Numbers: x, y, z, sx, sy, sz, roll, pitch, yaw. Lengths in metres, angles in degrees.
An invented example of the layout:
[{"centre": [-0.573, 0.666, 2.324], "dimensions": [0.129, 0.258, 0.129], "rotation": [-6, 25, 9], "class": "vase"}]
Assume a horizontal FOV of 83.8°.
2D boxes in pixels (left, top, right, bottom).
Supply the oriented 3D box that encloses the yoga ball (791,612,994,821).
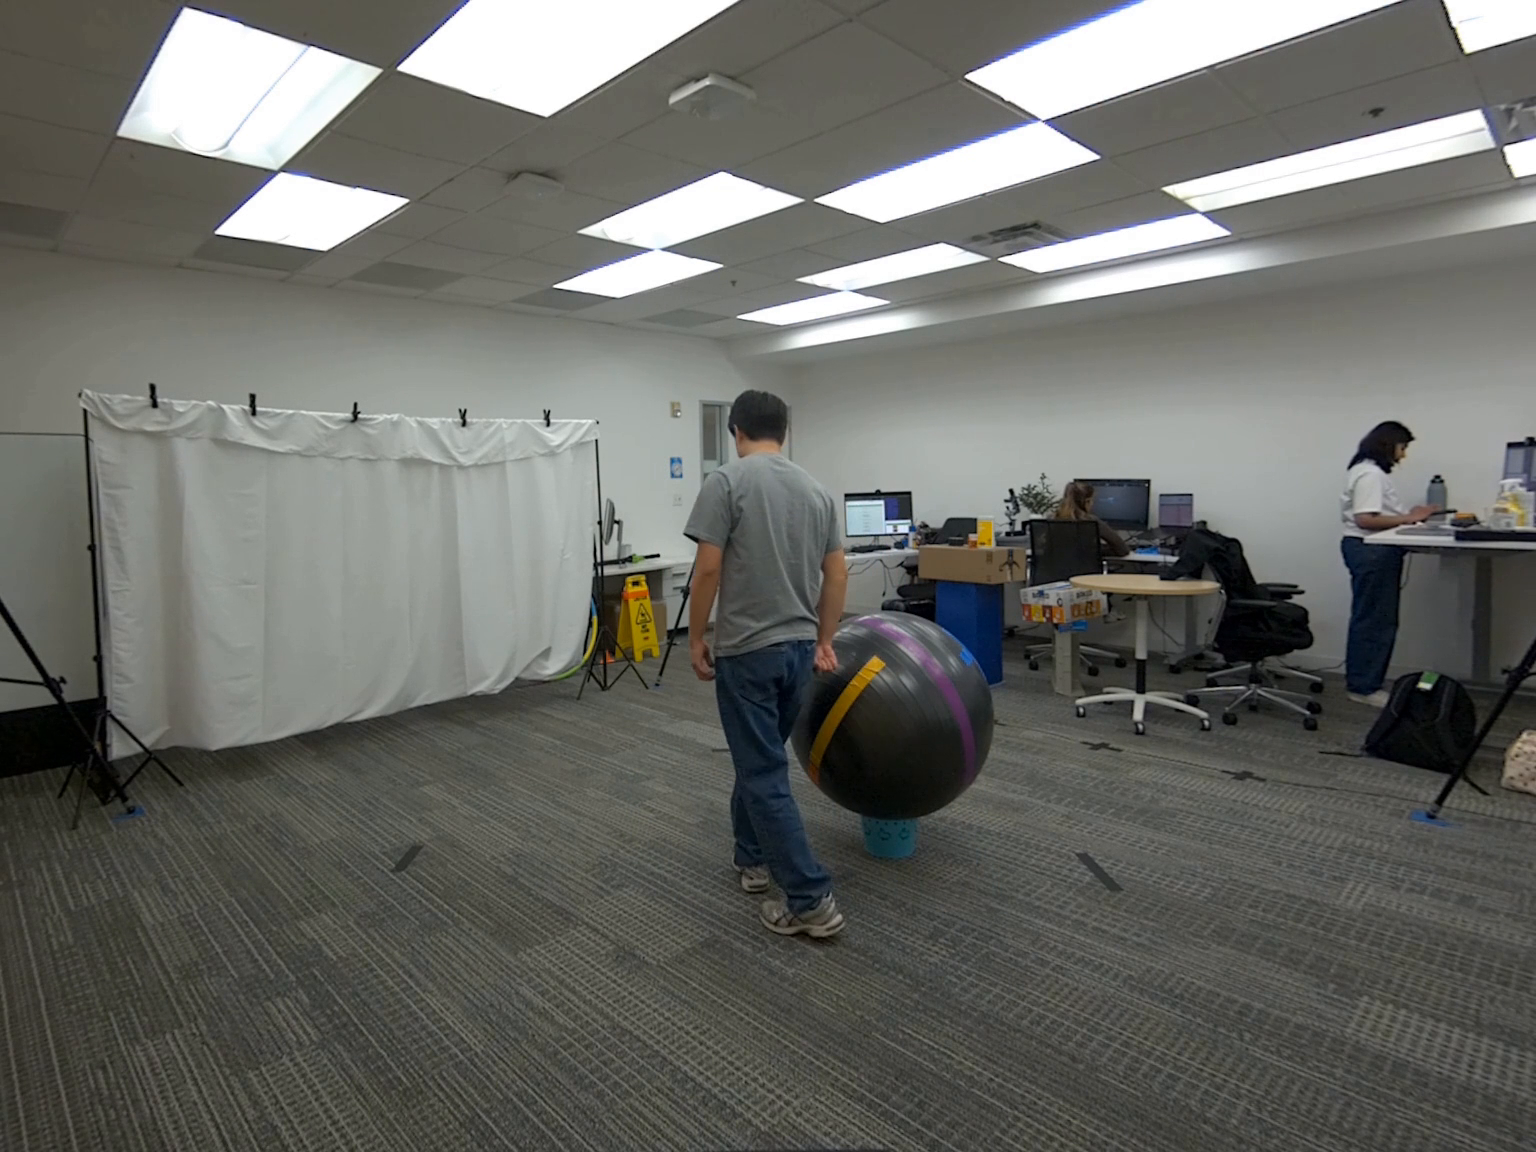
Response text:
[{"centre": [0.457, 0.520, 3.190], "dimensions": [0.757, 0.755, 0.762], "rotation": [-1, 5, -2], "class": "yoga ball"}]
